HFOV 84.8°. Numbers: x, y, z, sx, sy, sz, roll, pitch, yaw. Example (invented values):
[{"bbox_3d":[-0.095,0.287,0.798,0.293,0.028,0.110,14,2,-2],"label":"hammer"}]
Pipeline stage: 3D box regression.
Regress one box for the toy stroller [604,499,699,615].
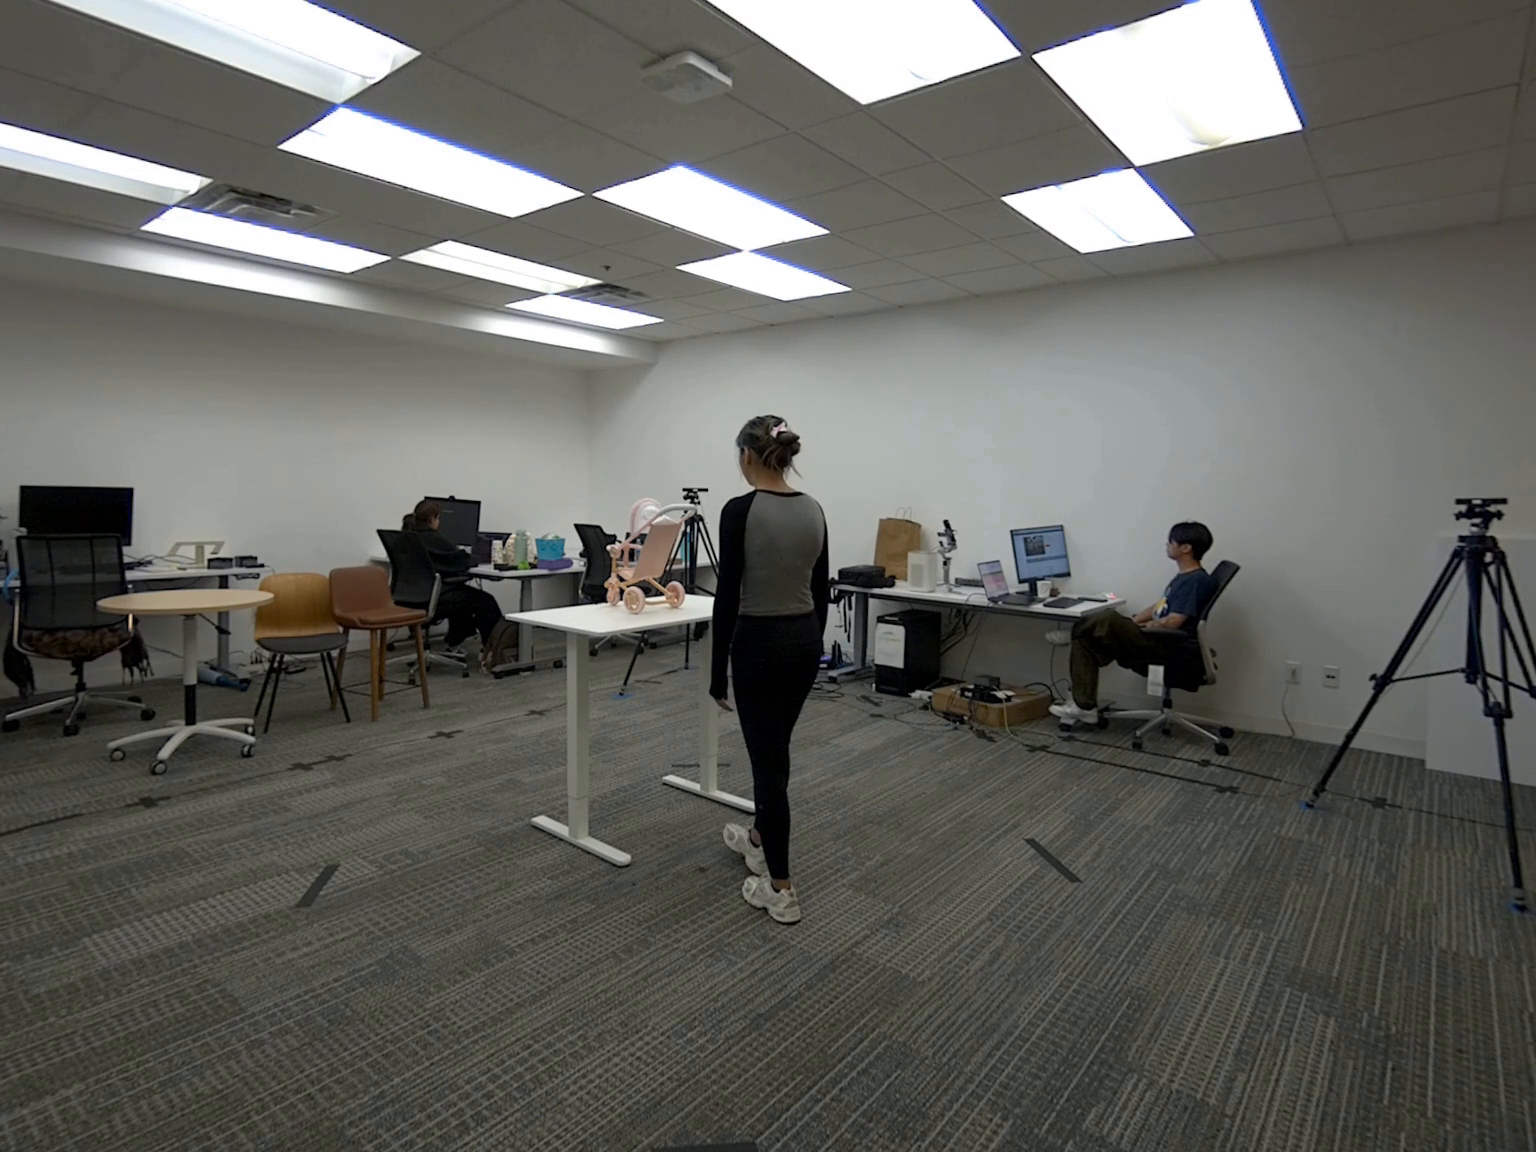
[{"bbox_3d":[-0.527,-0.087,3.564,0.355,0.530,0.273,22,16,39],"label":"toy stroller"}]
